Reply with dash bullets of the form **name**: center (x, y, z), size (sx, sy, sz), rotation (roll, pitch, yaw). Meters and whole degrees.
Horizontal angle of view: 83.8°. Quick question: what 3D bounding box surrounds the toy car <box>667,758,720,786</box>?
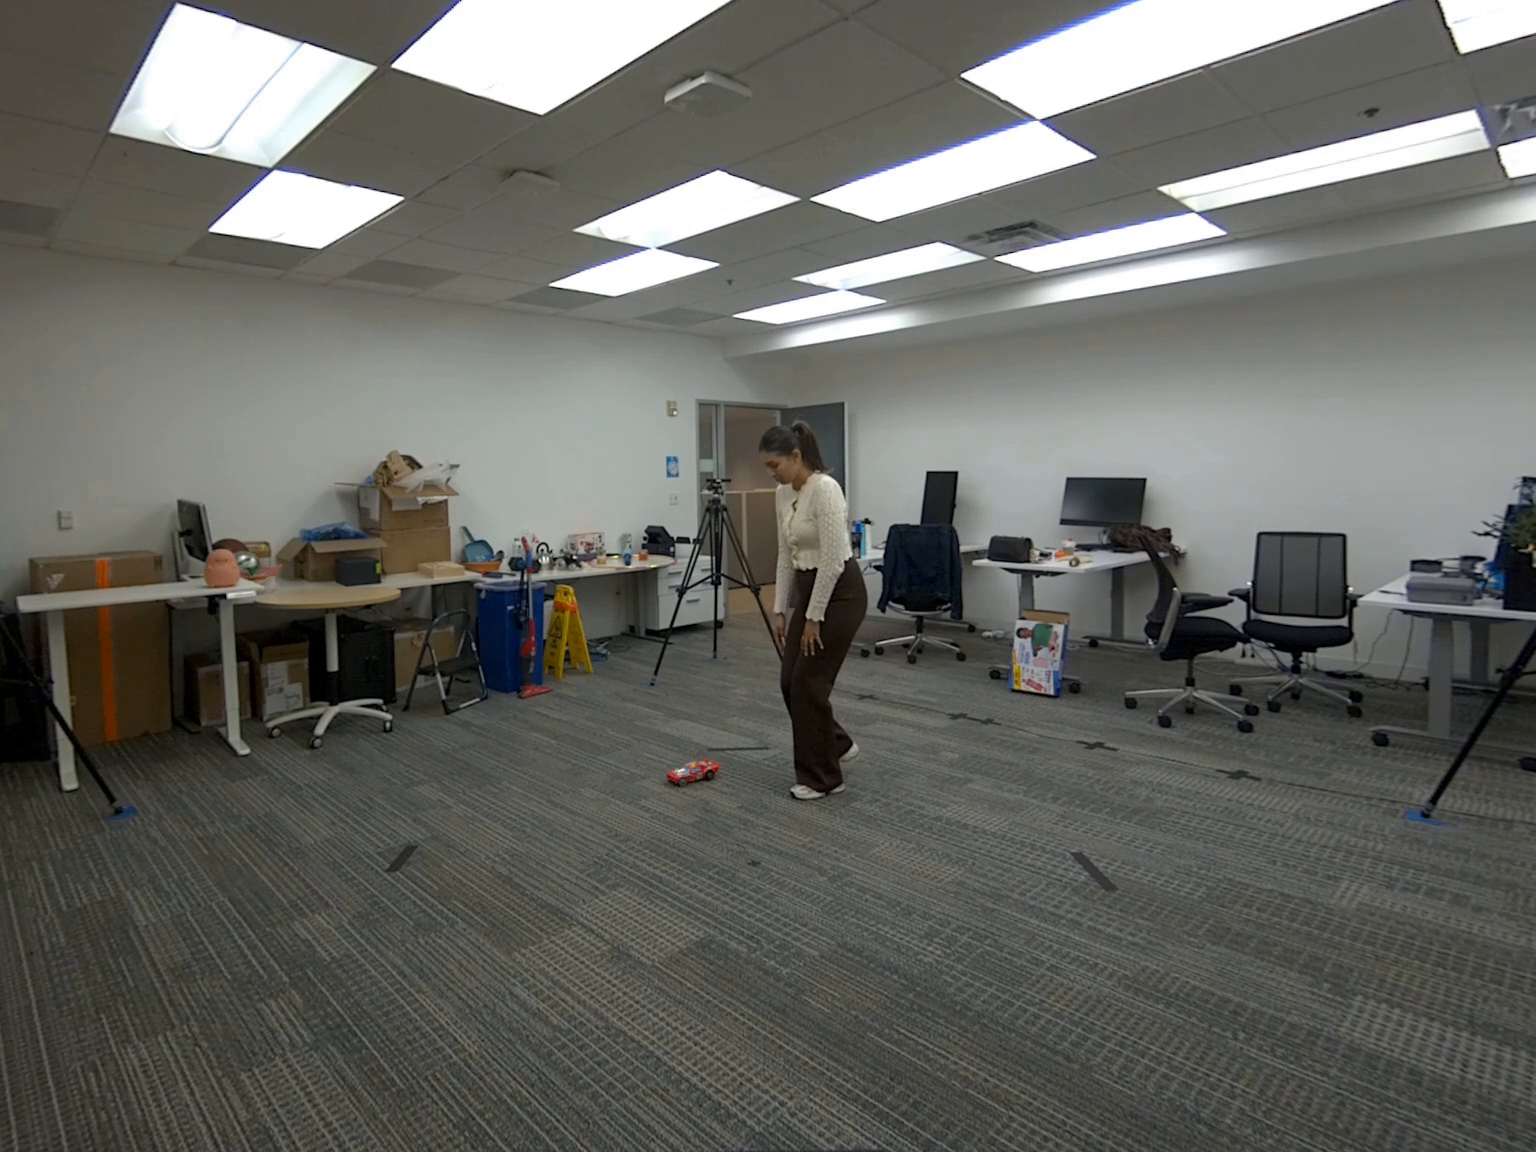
- **toy car**: center (-0.346, 0.919, 4.003), size (0.250, 0.082, 0.134), rotation (-18, 12, -31)
